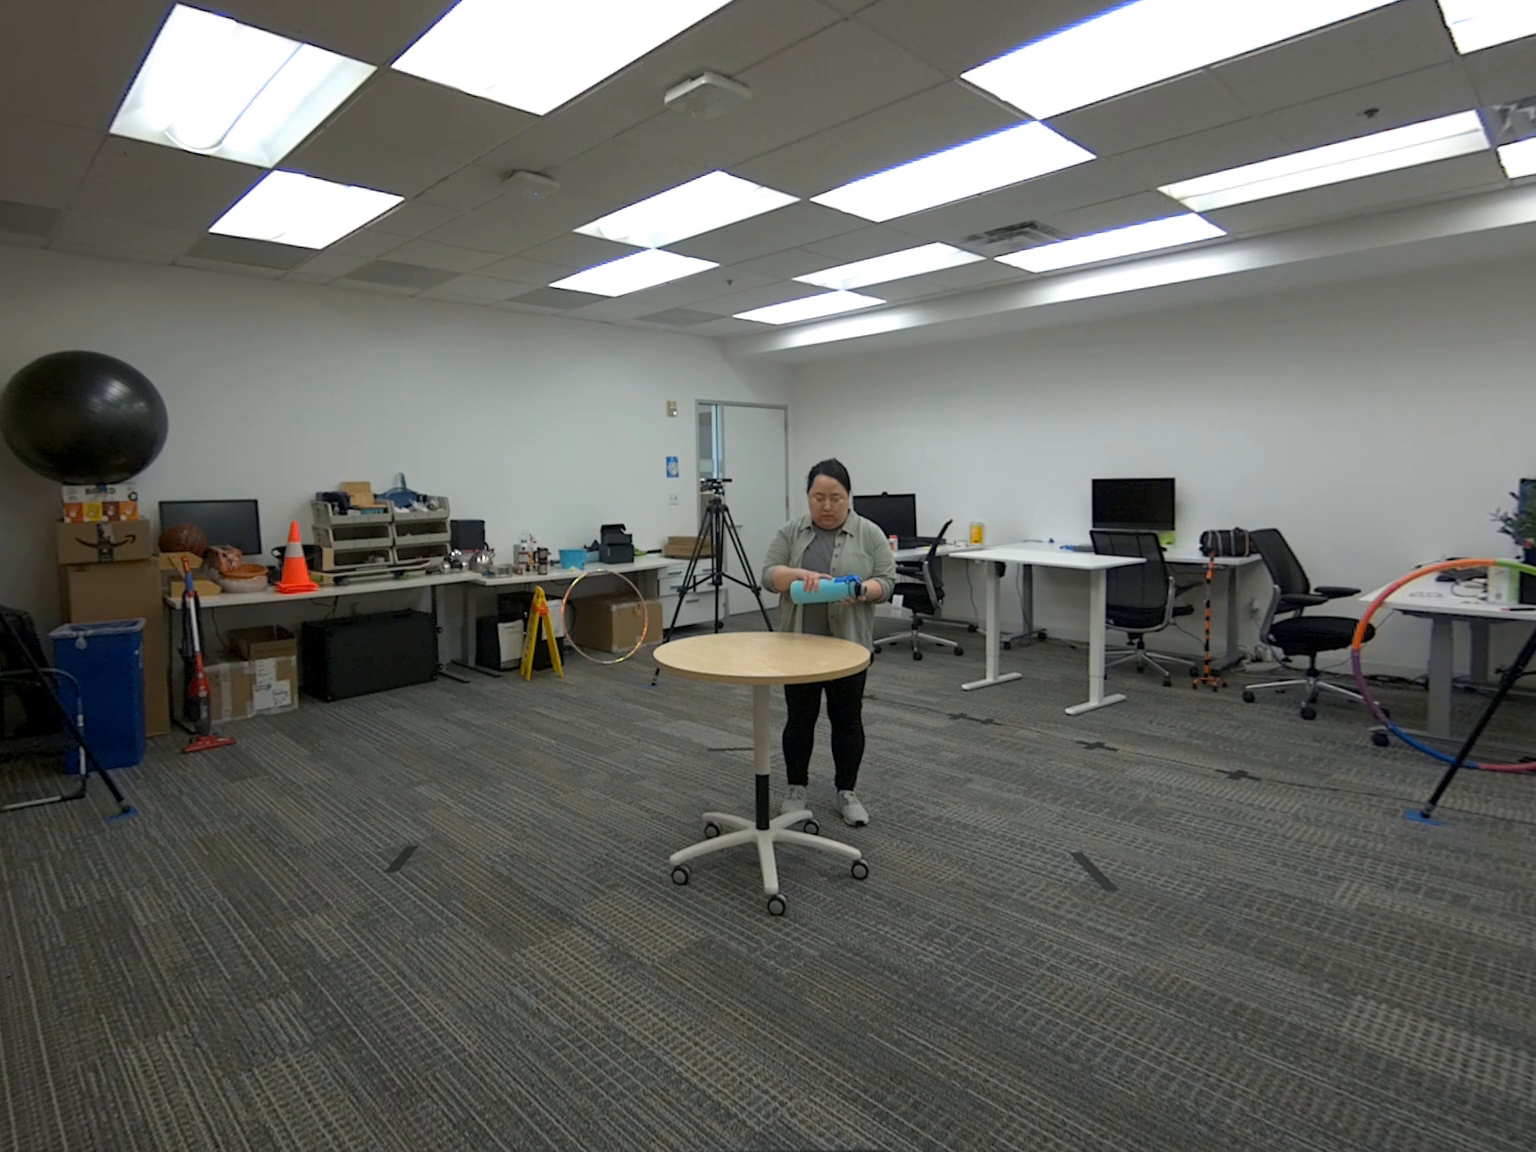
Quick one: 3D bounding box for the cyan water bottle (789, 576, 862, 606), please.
[{"bbox_3d":[0.236,0.059,3.247,0.289,0.092,0.090,-8,1,26],"label":"cyan water bottle"}]
